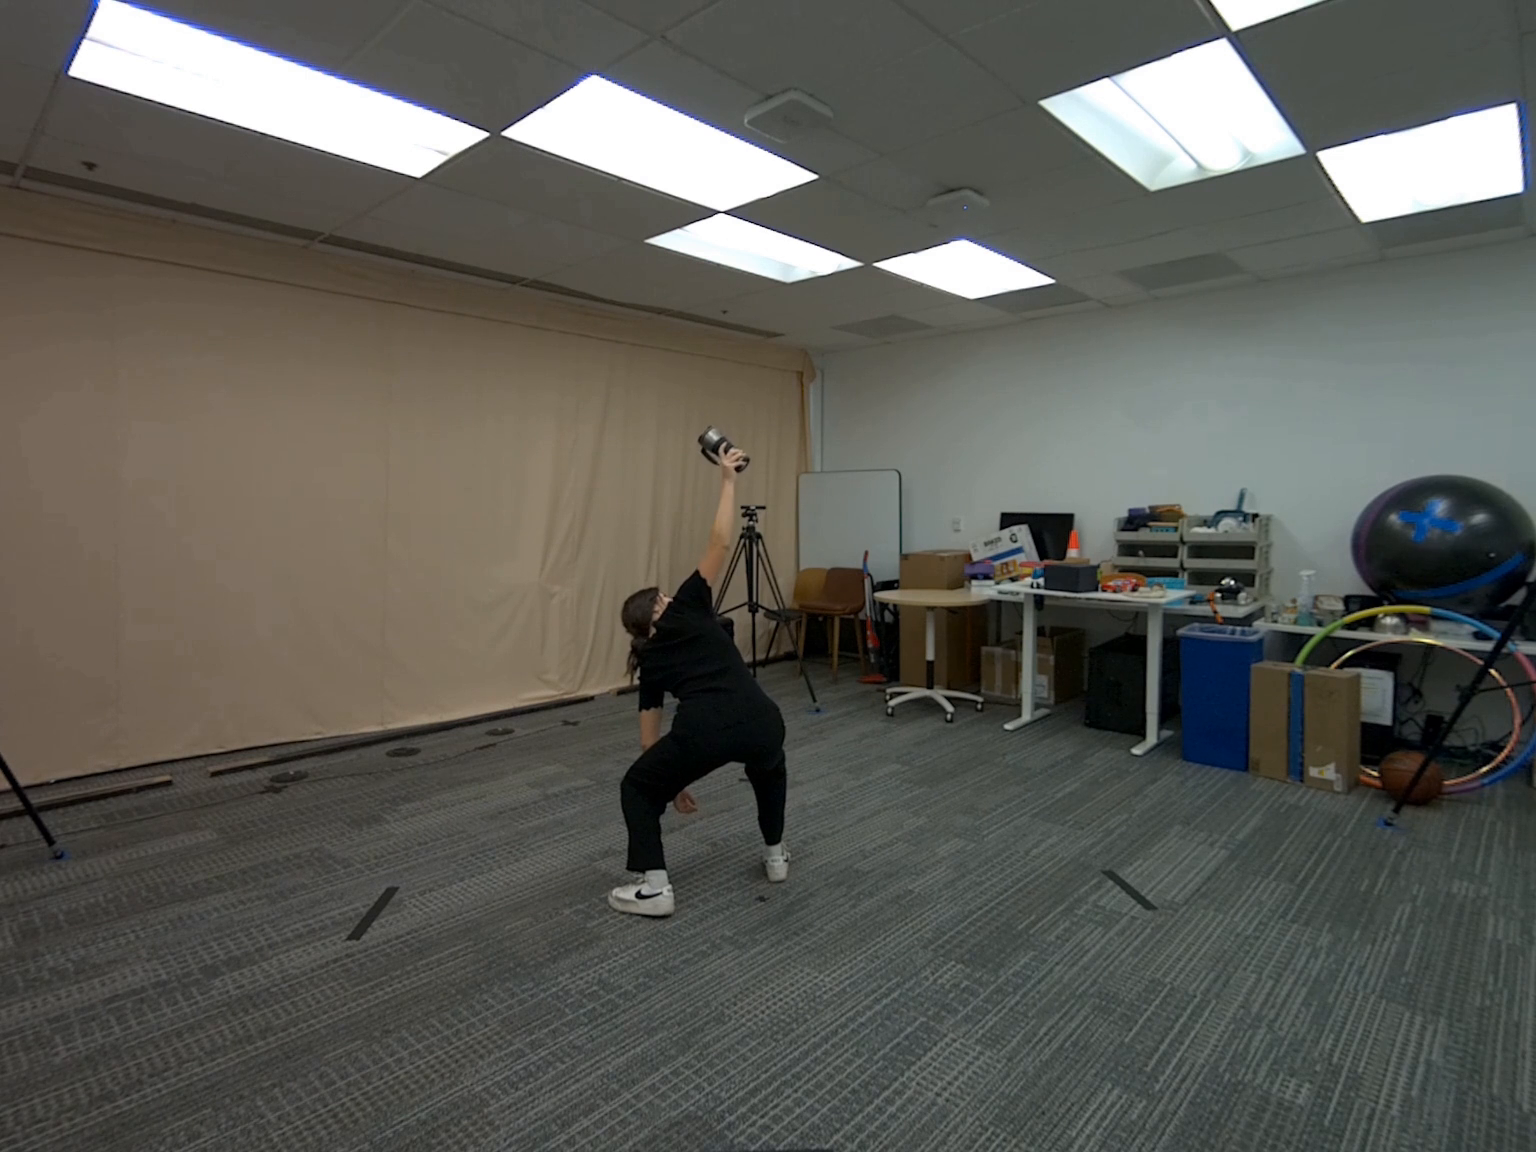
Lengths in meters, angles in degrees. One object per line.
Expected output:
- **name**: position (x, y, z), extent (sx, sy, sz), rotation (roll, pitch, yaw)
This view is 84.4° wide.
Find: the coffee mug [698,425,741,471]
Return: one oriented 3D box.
- **coffee mug**: position (-0.165, -0.463, 3.181), extent (0.206, 0.087, 0.121), rotation (40, -17, 11)
